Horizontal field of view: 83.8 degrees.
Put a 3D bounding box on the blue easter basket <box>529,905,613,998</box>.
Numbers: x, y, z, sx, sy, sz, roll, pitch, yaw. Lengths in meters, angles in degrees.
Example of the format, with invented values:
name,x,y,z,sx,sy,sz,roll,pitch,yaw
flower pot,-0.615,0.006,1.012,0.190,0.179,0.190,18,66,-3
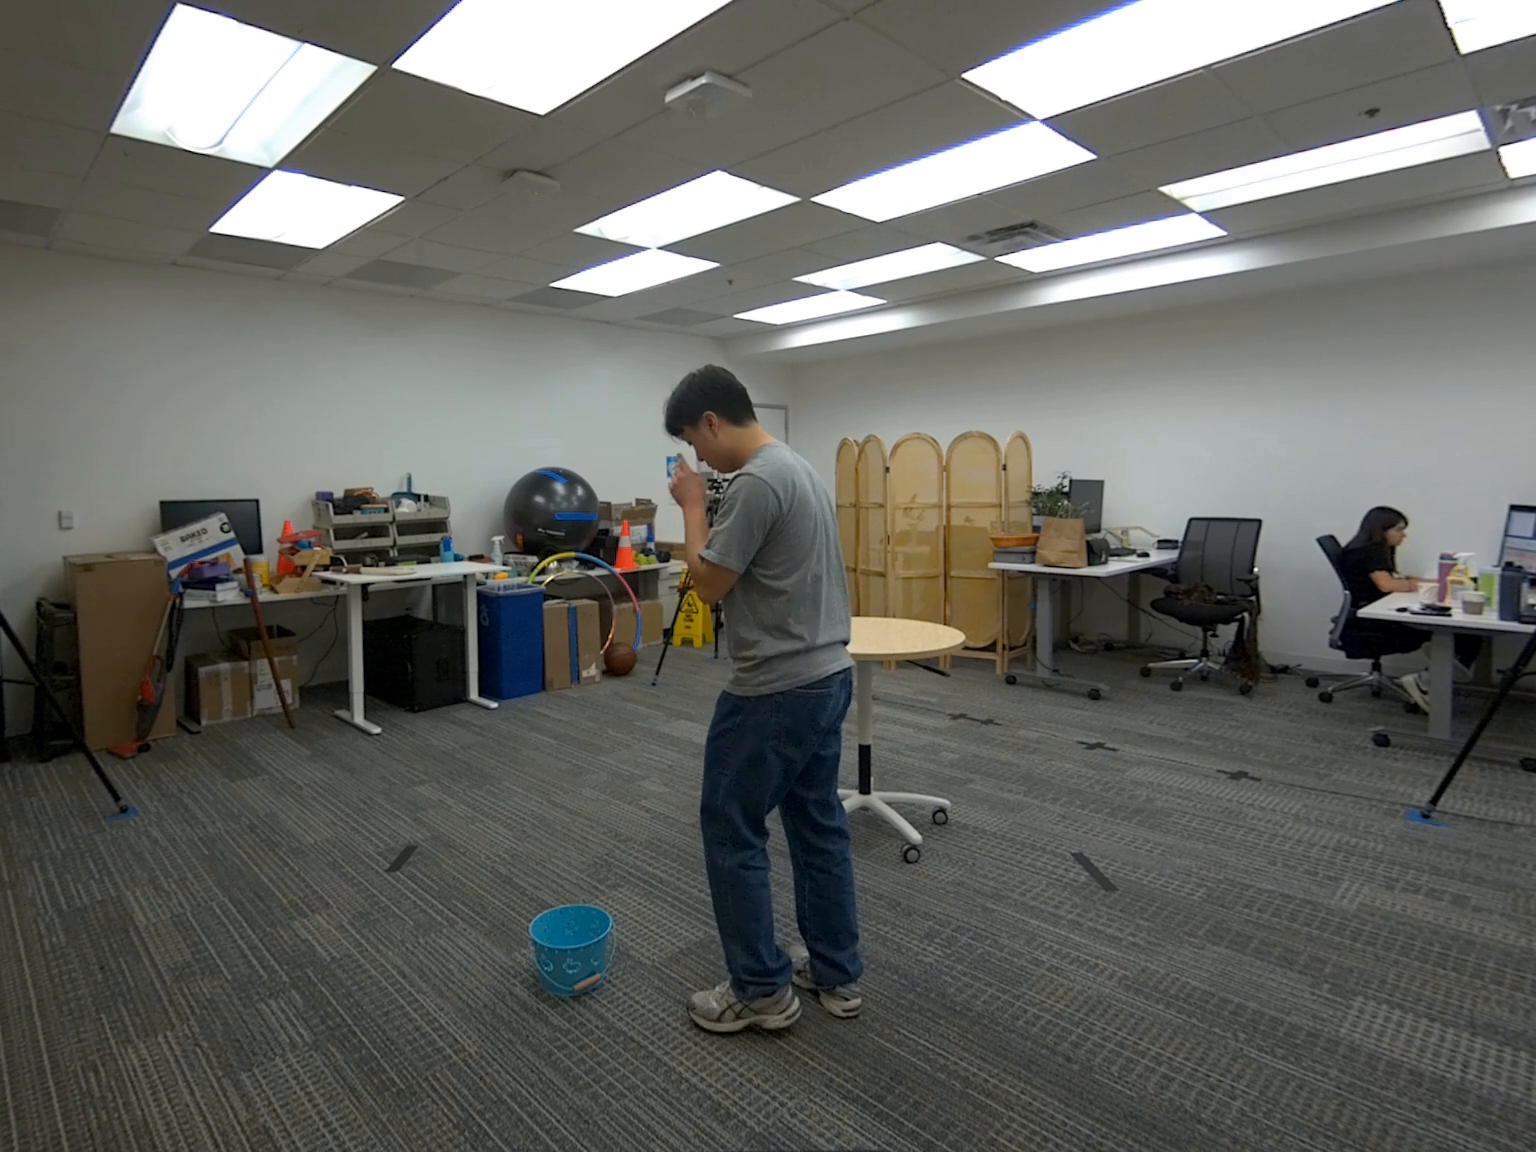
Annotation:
name,x,y,z,sx,sy,sz,roll,pitch,yaw
blue easter basket,-0.551,1.059,2.414,0.243,0.155,0.245,-1,5,-2
